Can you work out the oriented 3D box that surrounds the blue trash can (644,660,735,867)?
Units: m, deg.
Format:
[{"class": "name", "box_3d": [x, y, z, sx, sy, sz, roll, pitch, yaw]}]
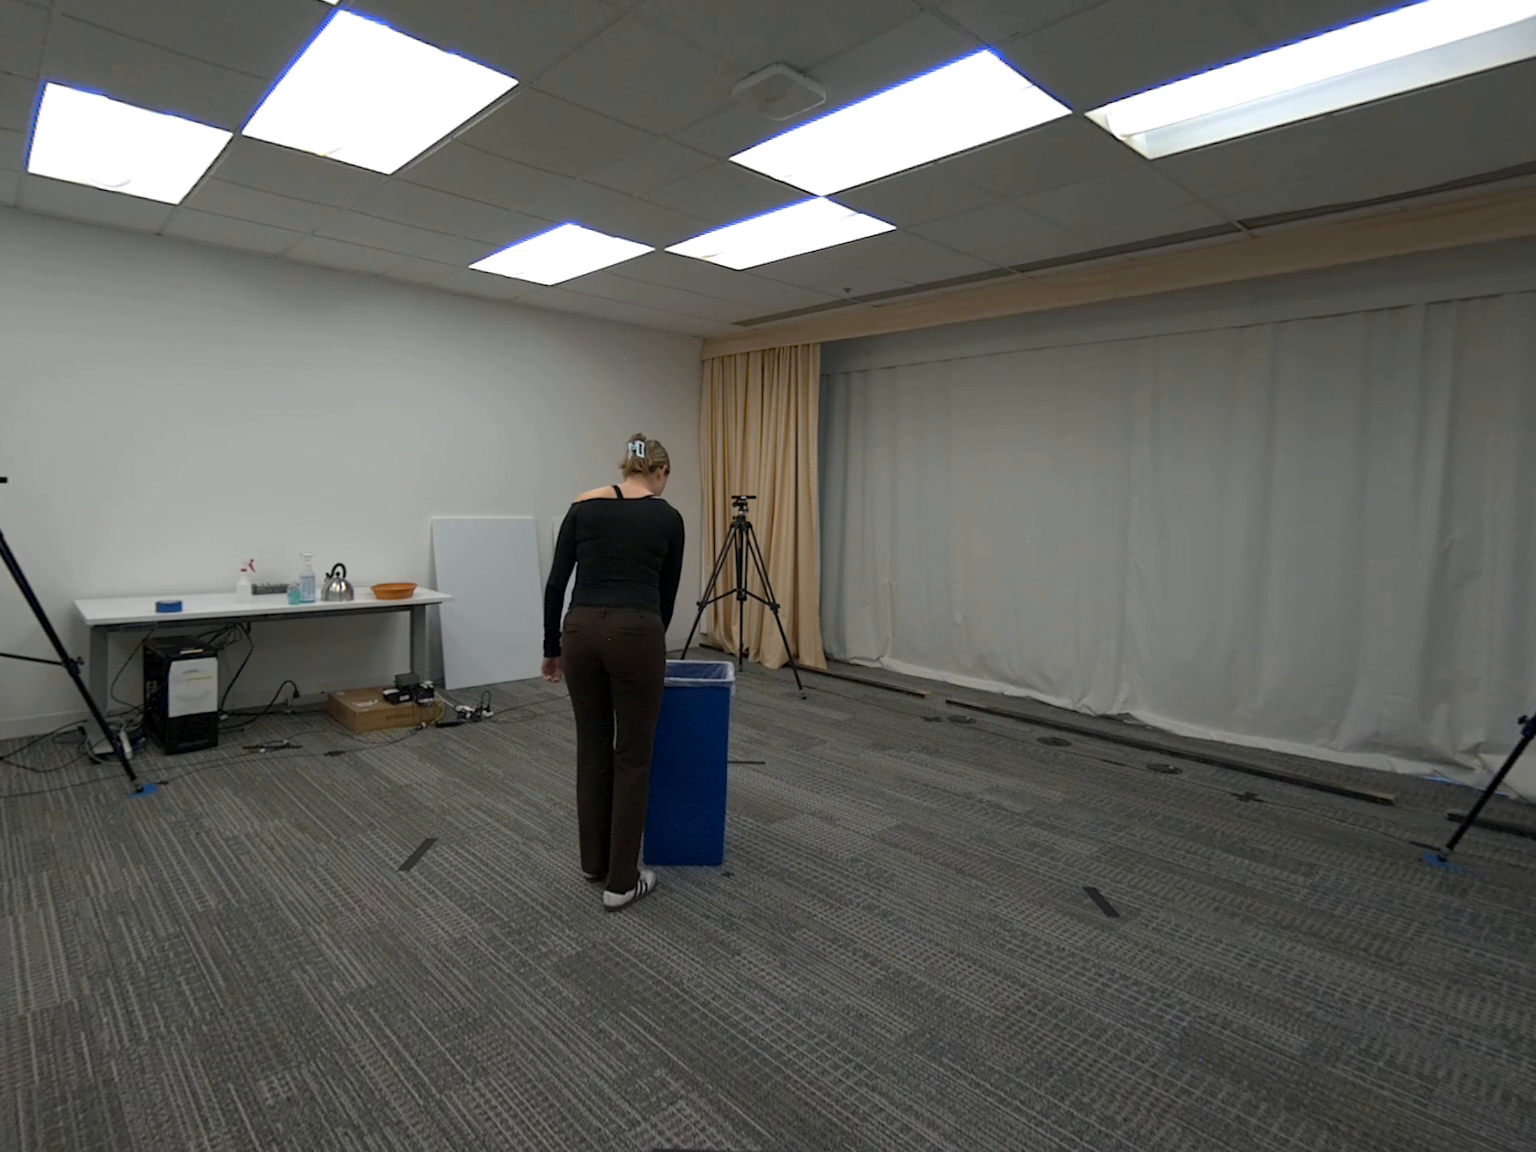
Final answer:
[{"class": "blue trash can", "box_3d": [-0.328, 0.721, 3.300, 0.373, 0.712, 0.379, 2, 3, -2]}]
